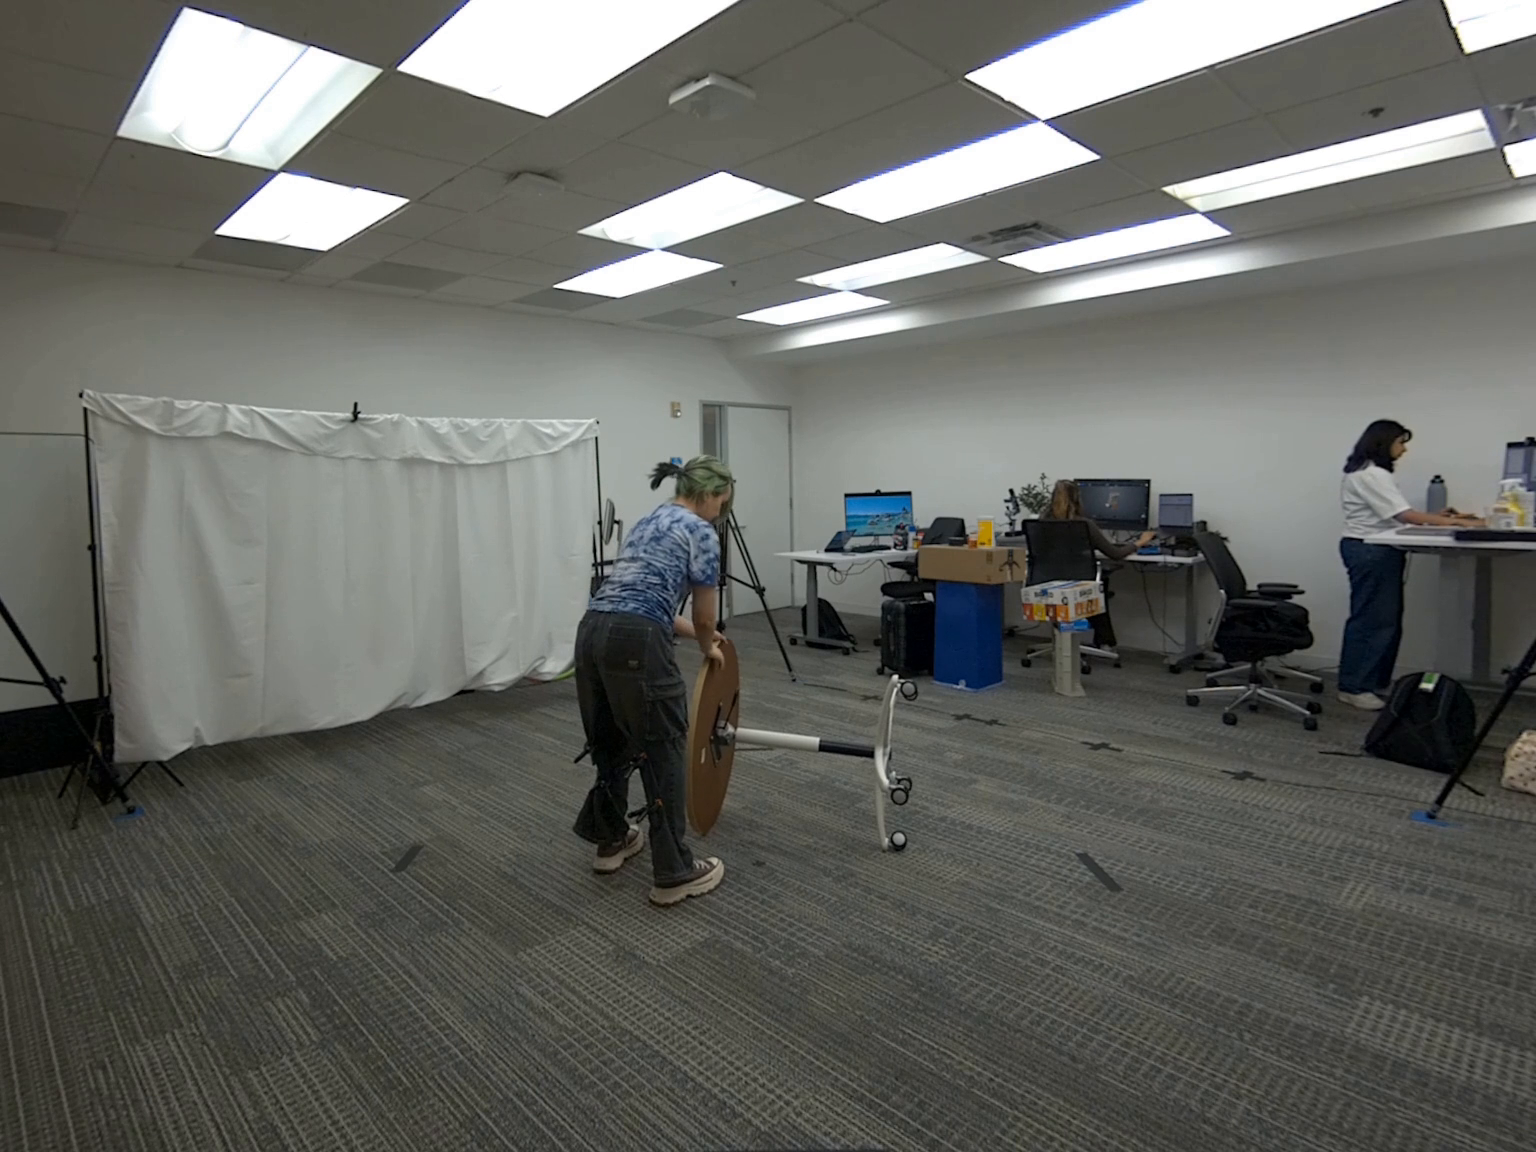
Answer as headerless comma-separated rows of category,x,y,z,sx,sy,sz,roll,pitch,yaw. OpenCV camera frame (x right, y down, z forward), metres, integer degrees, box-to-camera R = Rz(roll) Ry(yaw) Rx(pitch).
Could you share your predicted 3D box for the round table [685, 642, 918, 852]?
round table,0.162,0.665,3.346,0.805,0.761,0.757,5,6,12
